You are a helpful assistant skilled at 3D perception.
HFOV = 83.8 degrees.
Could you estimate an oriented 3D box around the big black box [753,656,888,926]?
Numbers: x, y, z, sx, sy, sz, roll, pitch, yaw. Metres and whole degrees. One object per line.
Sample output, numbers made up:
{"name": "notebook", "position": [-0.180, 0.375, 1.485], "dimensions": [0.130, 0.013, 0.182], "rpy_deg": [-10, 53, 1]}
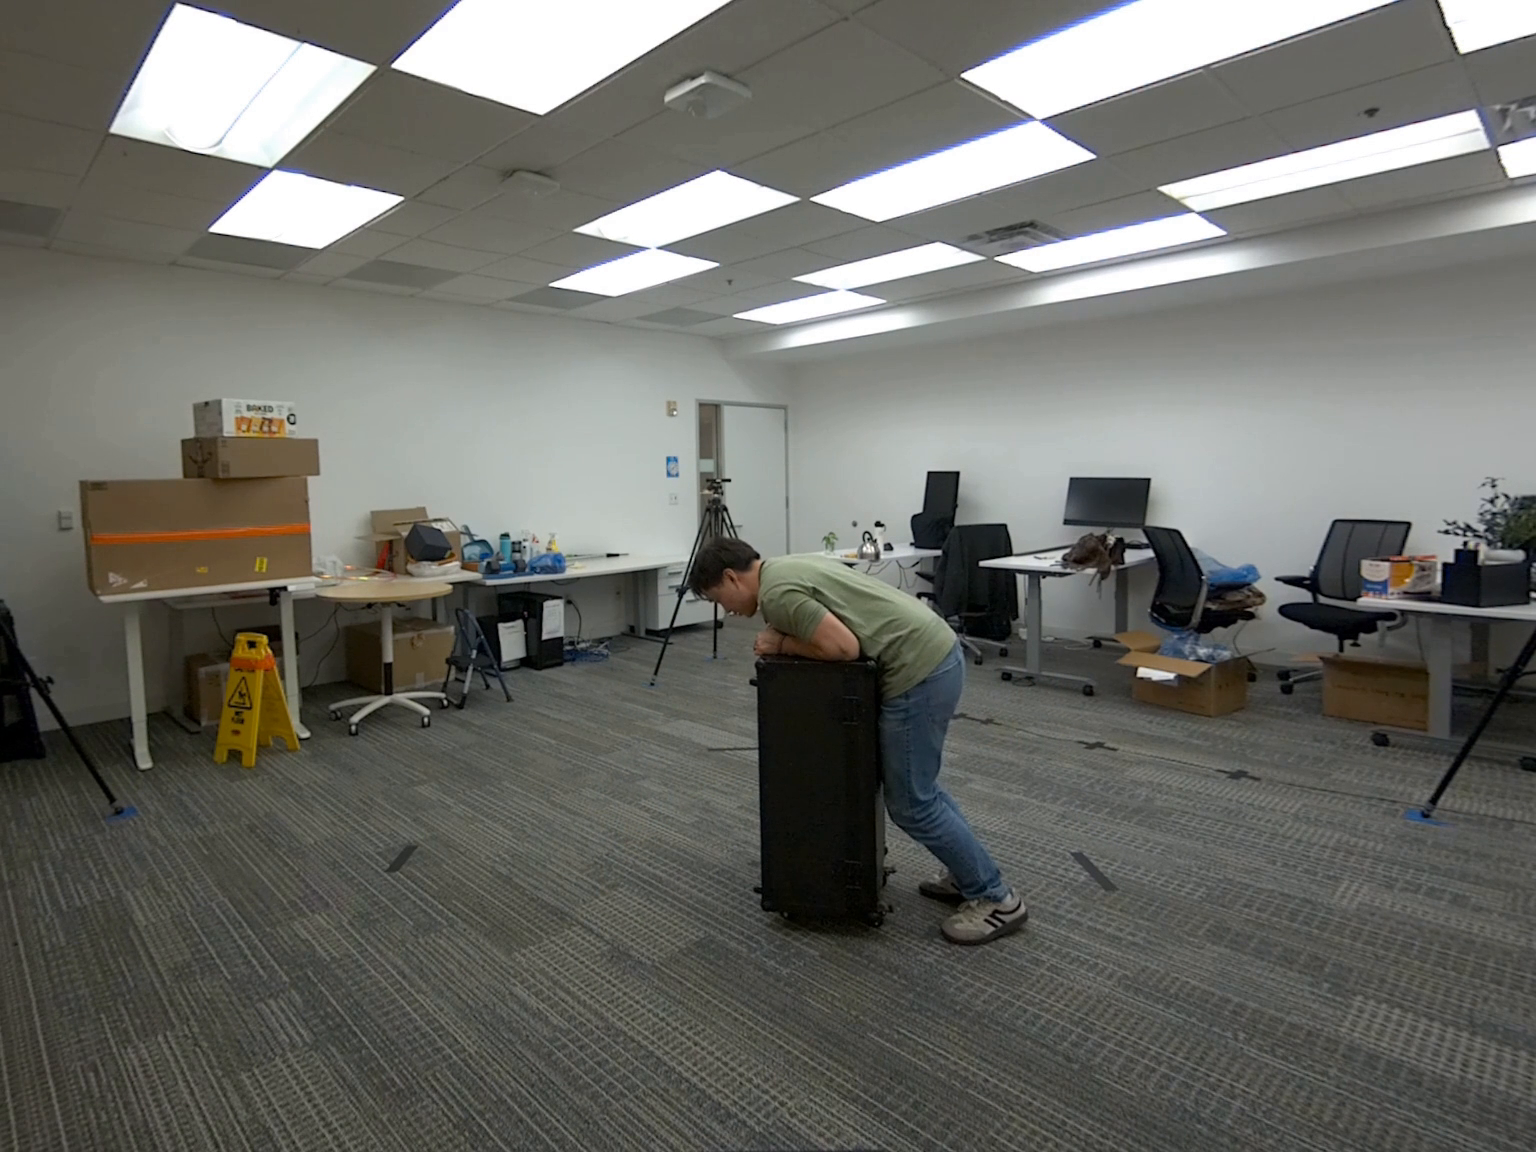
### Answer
{"name": "big black box", "position": [0.176, 0.659, 2.791], "dimensions": [0.401, 0.859, 0.517], "rpy_deg": [-1, 4, 12]}
